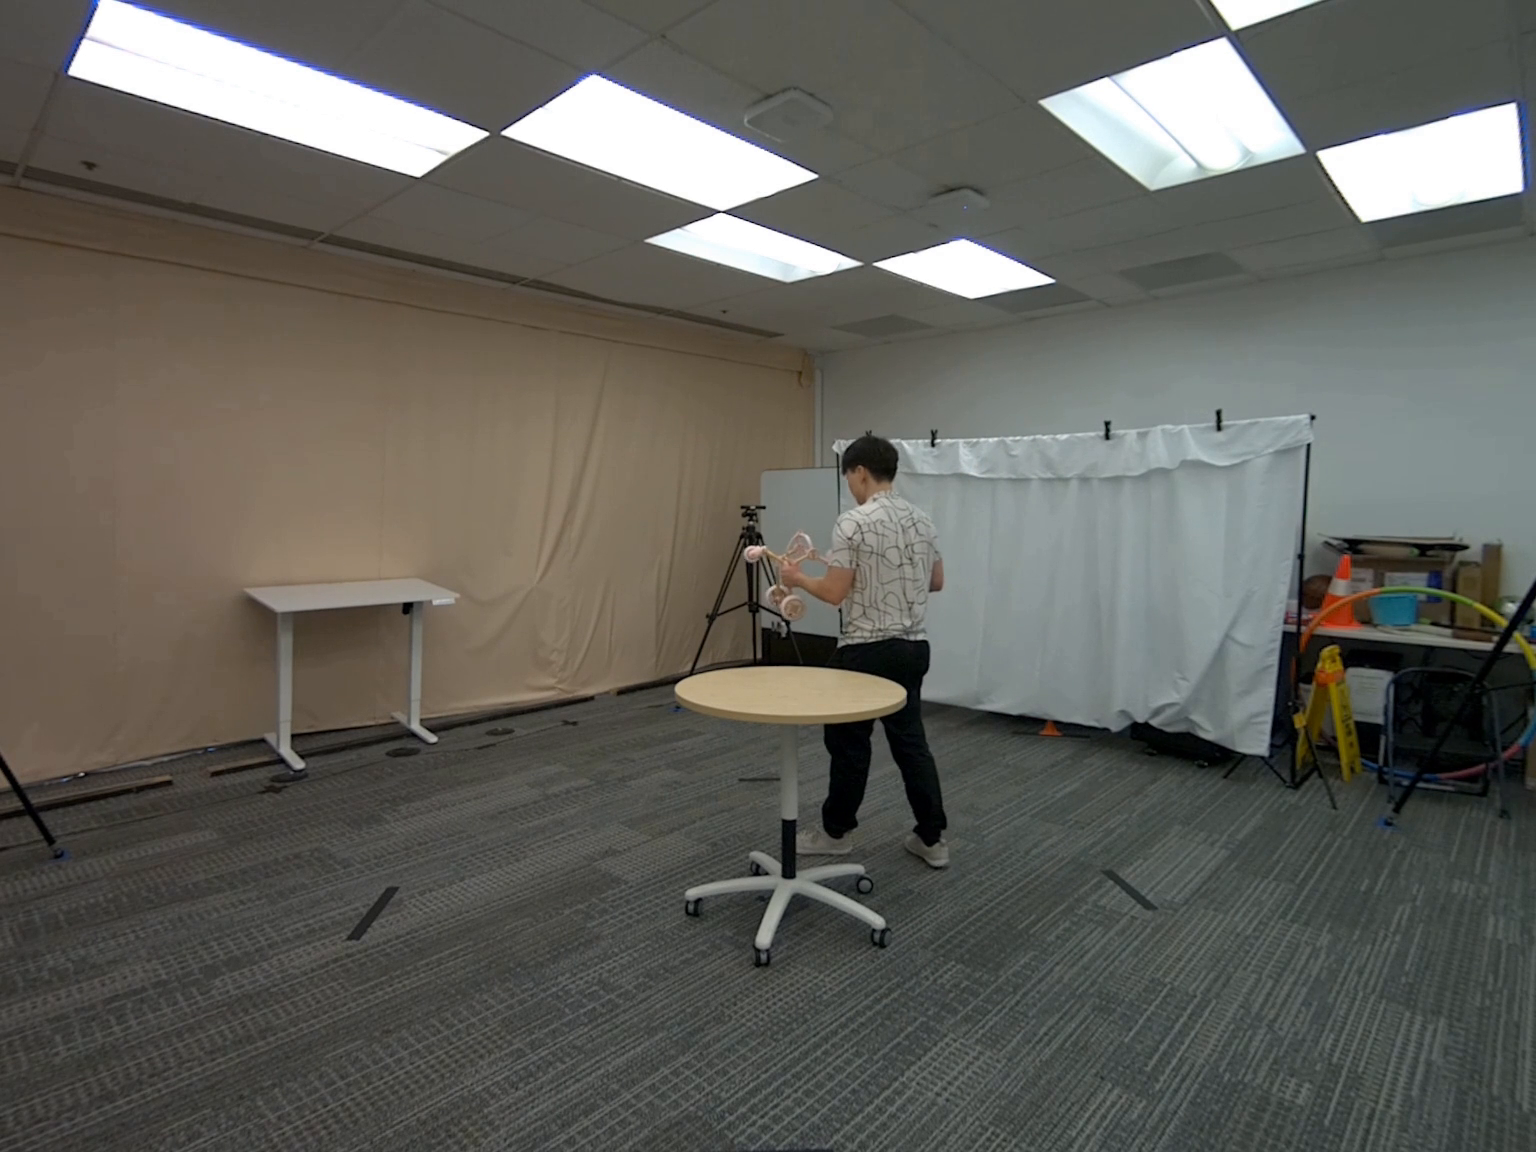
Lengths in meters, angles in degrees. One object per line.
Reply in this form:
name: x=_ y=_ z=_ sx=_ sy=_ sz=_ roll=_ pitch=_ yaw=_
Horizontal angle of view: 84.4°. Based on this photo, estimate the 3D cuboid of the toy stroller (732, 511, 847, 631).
toy stroller: x=0.174 y=-0.033 z=3.553 sx=0.530 sy=0.339 sz=0.285 roll=-17 pitch=7 yaw=-10
